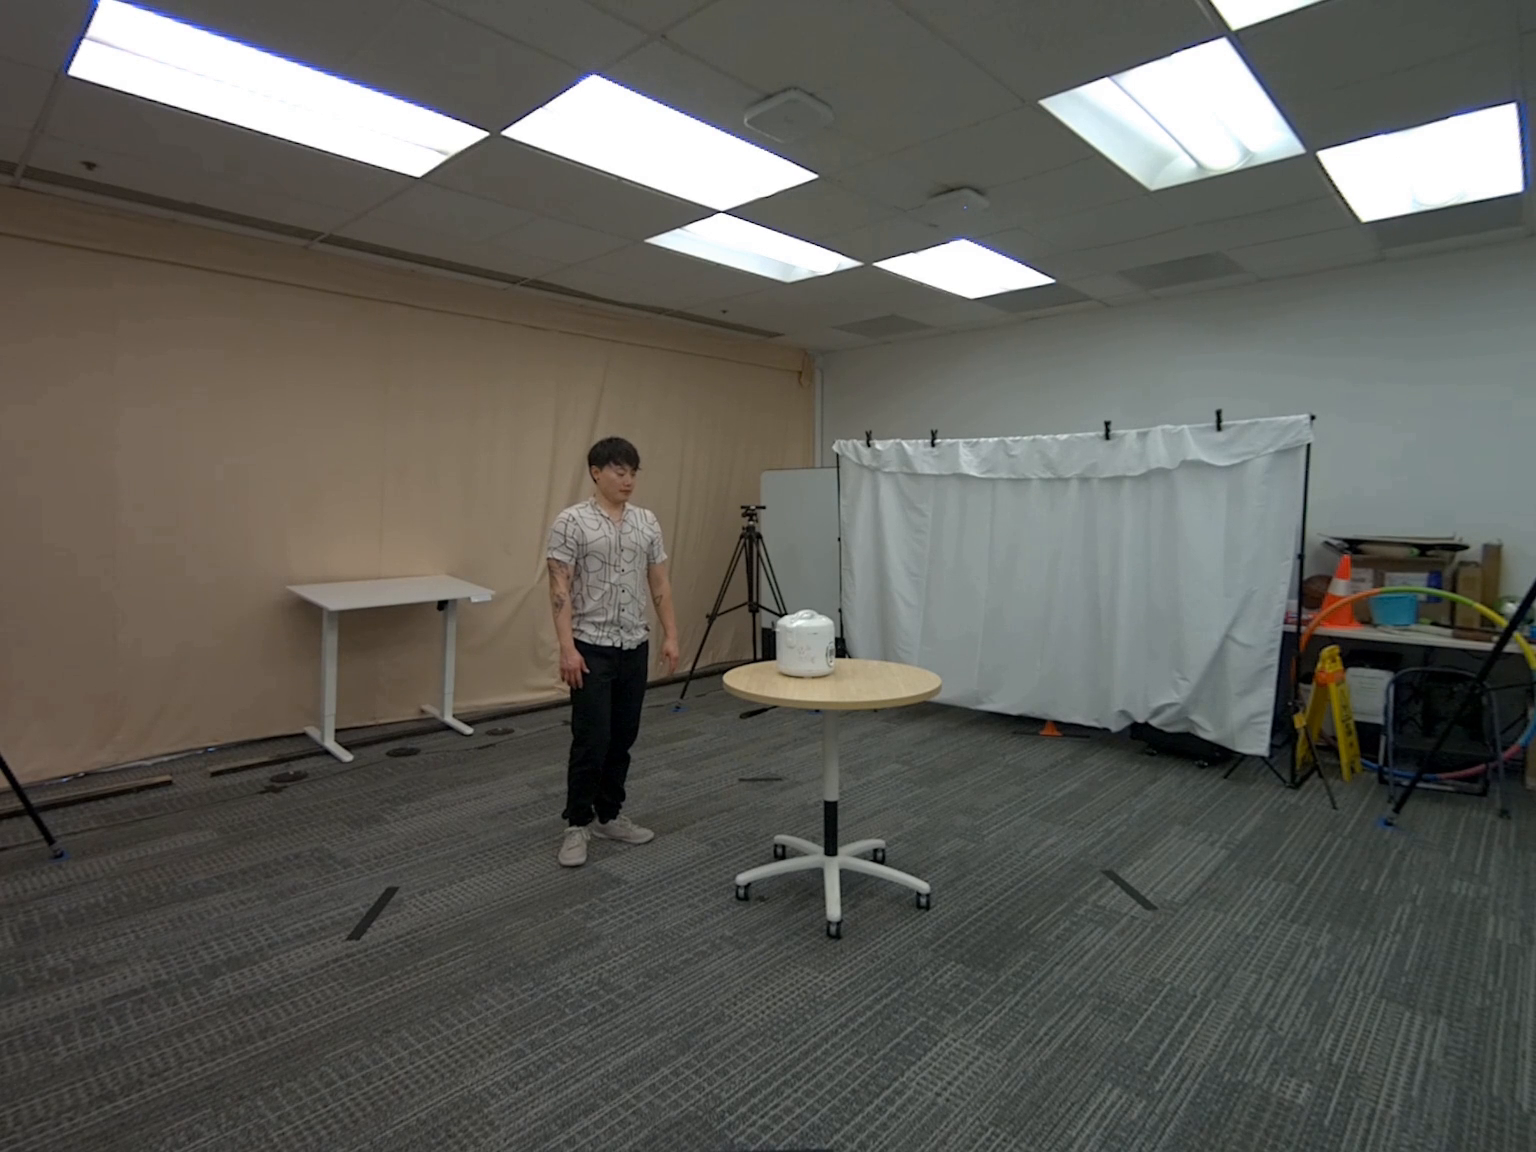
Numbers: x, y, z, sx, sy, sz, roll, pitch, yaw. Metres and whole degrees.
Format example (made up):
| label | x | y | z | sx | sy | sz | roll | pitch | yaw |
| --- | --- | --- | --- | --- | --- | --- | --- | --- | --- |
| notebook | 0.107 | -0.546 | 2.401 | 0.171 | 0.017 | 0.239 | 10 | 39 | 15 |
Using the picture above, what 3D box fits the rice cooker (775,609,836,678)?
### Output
| label | x | y | z | sx | sy | sz | roll | pitch | yaw |
| --- | --- | --- | --- | --- | --- | --- | --- | --- | --- |
| rice cooker | 0.142 | 0.240 | 3.057 | 0.224 | 0.232 | 0.214 | 1 | 3 | 35 |
